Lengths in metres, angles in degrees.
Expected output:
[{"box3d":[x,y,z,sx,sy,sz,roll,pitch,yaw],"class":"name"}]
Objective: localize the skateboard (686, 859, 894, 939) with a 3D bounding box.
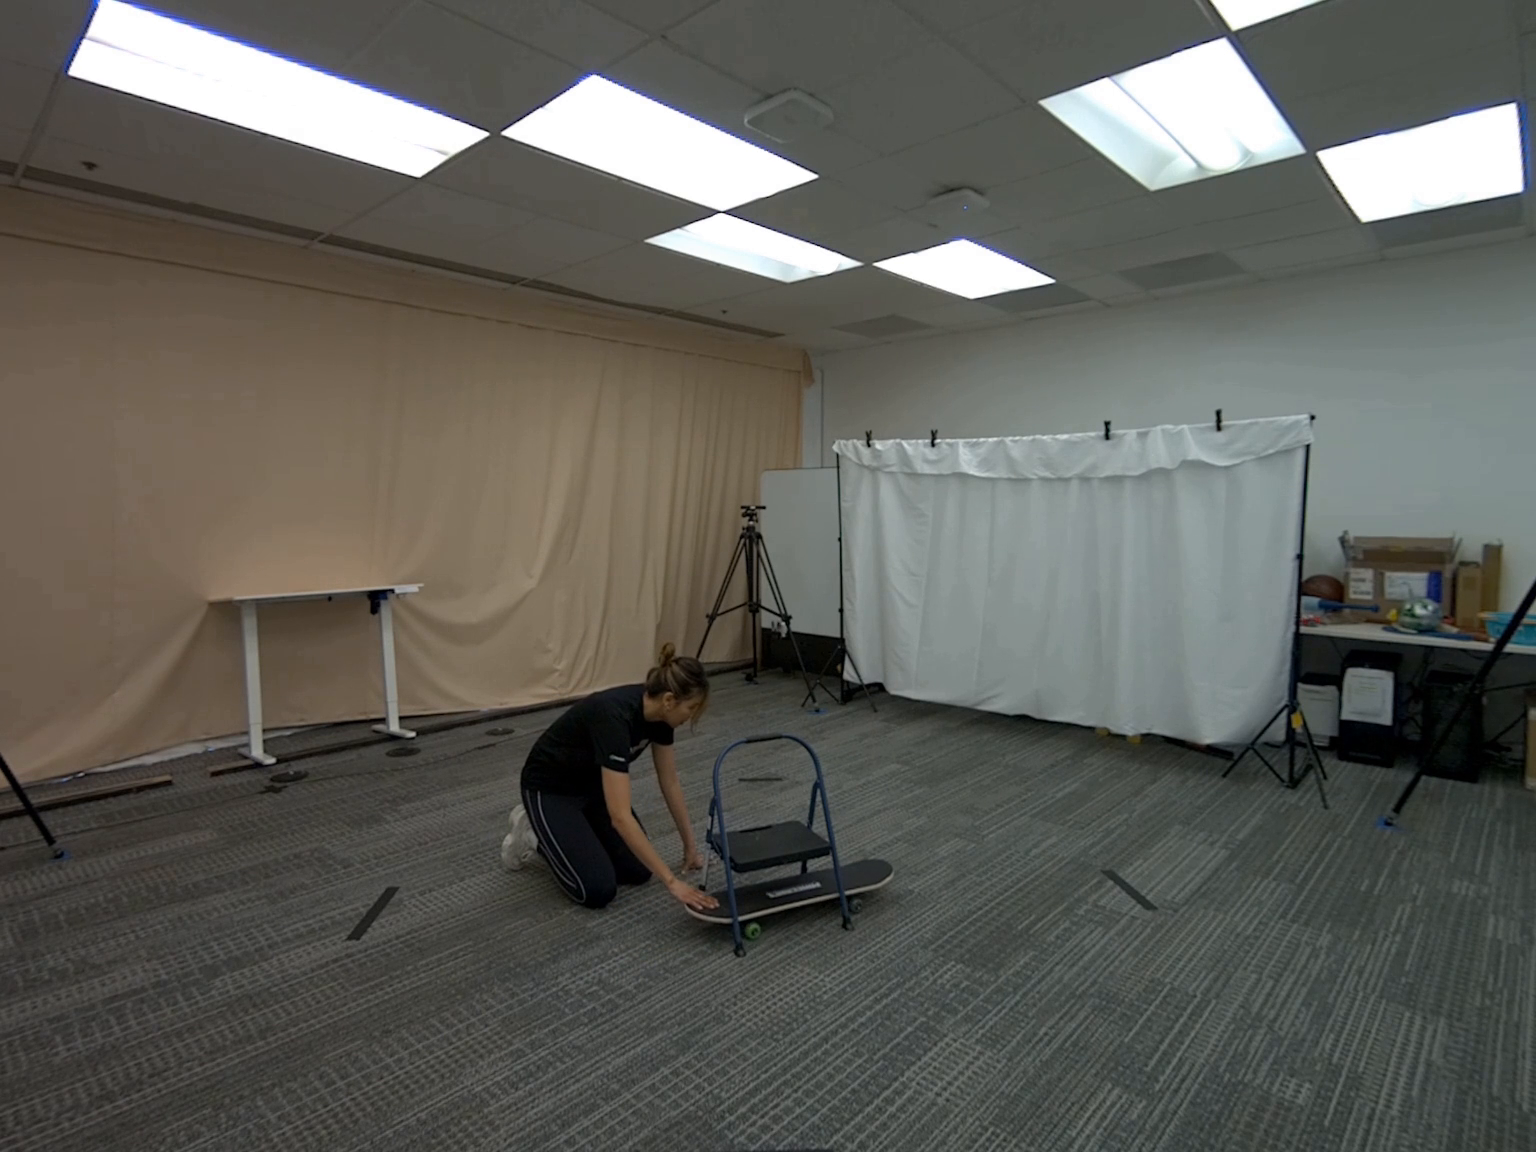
[{"box3d":[0.080,1.093,2.863,0.767,0.110,0.199,-3,7,-26],"class":"skateboard"}]
